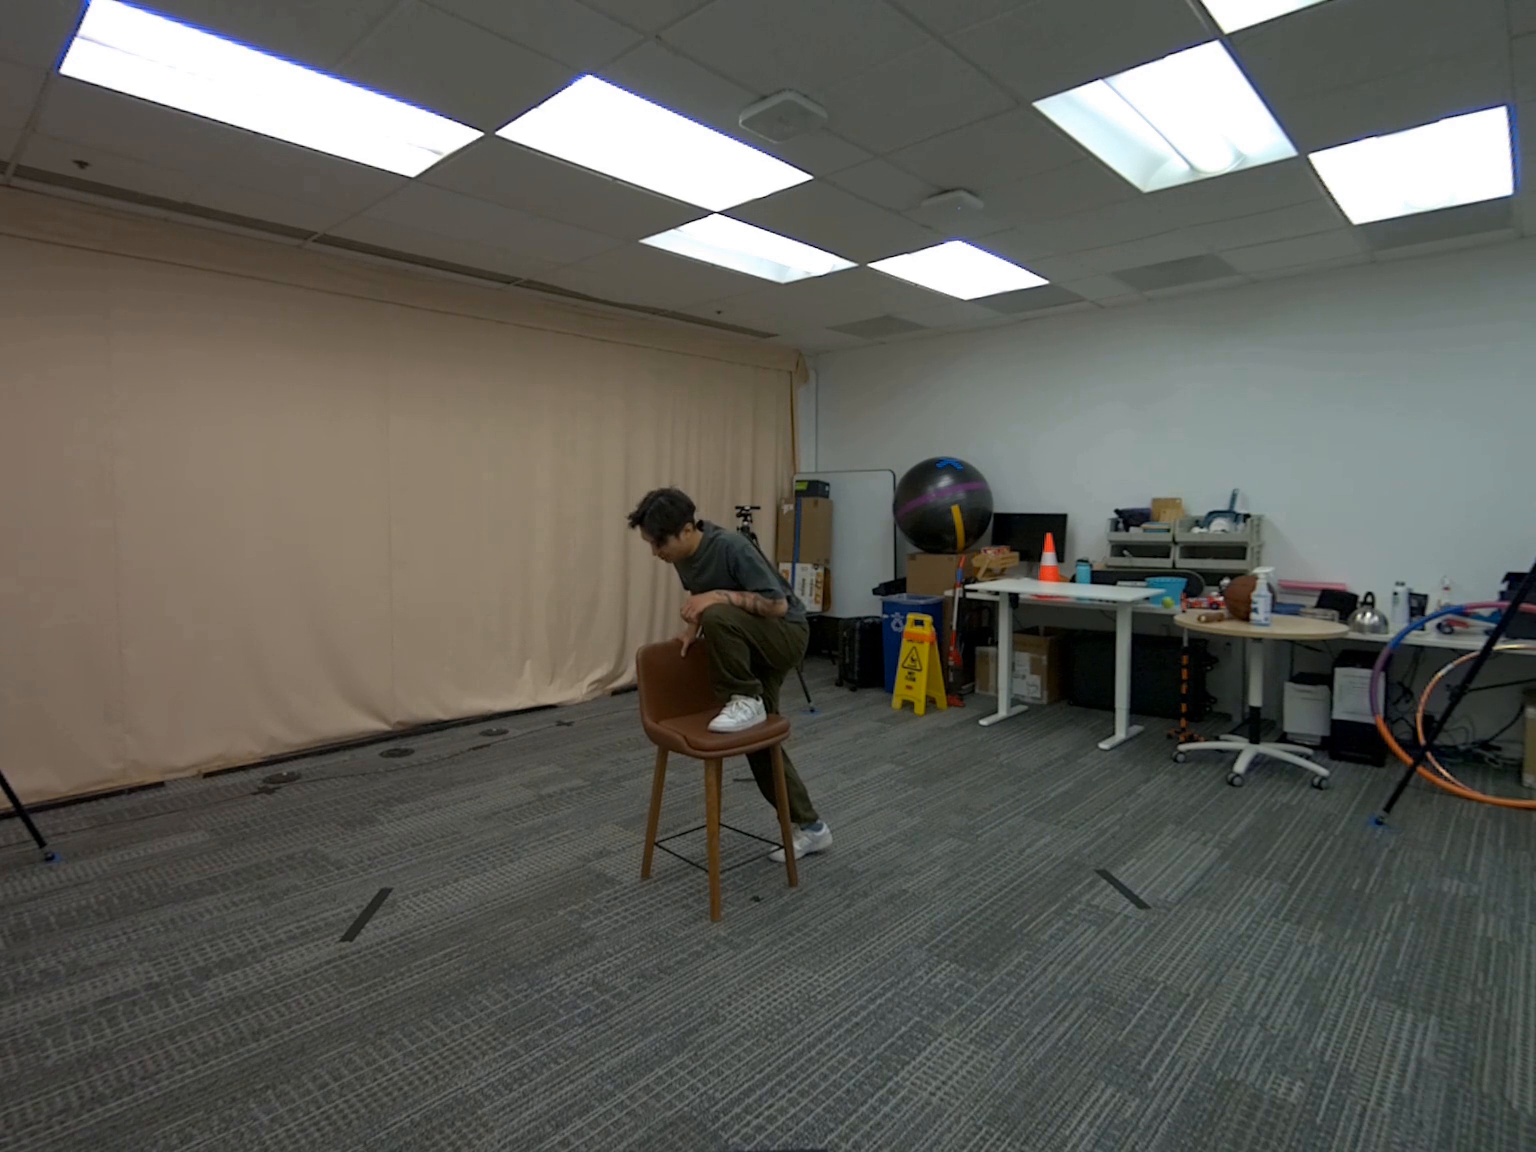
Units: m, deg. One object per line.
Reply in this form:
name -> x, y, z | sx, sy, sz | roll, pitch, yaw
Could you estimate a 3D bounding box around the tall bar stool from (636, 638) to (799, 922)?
tall bar stool -> -0.202, 0.700, 3.093 | 0.442, 0.889, 0.482 | -4, 2, -42
